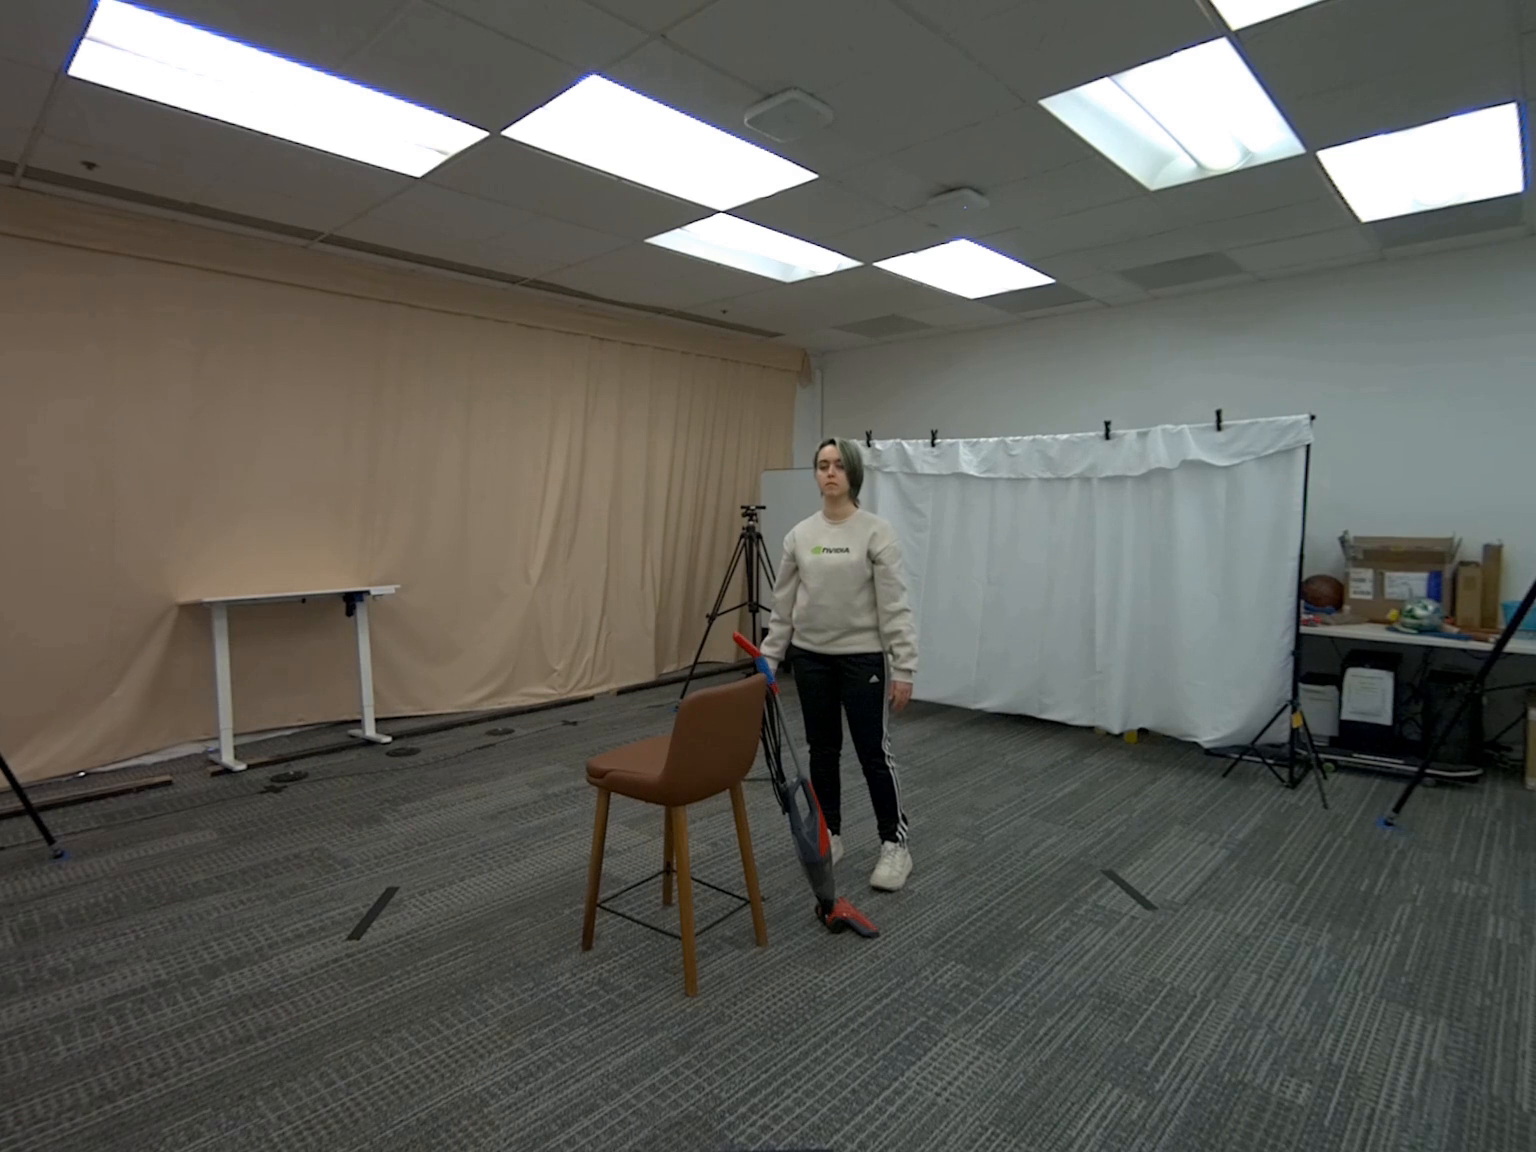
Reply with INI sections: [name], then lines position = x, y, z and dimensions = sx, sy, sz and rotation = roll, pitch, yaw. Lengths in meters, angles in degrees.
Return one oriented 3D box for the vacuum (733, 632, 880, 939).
[vacuum]
position = 0.087, 0.674, 2.738
dimensions = 0.142, 1.041, 0.258
rotation = -22, 9, -21
